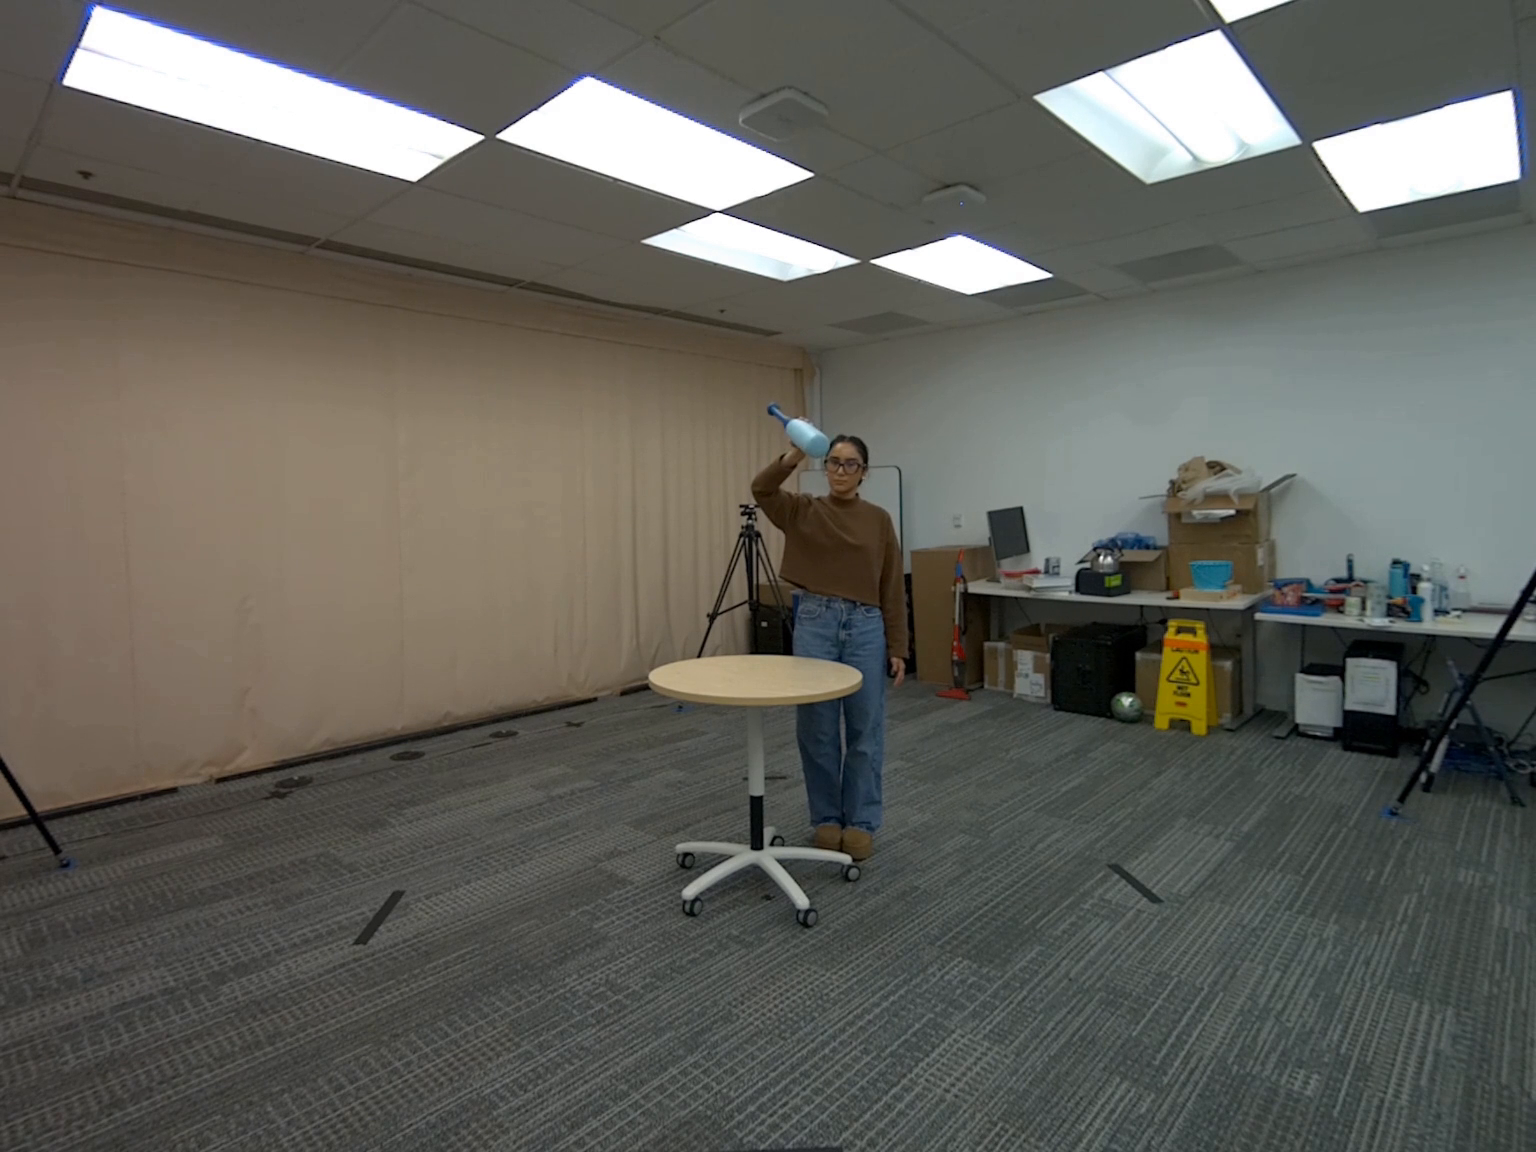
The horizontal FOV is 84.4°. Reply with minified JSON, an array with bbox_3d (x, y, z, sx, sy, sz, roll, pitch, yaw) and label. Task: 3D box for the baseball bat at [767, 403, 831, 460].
[{"bbox_3d":[0.096,-0.541,3.054,0.088,0.088,0.558,-2,26,-15],"label":"baseball bat"}]
